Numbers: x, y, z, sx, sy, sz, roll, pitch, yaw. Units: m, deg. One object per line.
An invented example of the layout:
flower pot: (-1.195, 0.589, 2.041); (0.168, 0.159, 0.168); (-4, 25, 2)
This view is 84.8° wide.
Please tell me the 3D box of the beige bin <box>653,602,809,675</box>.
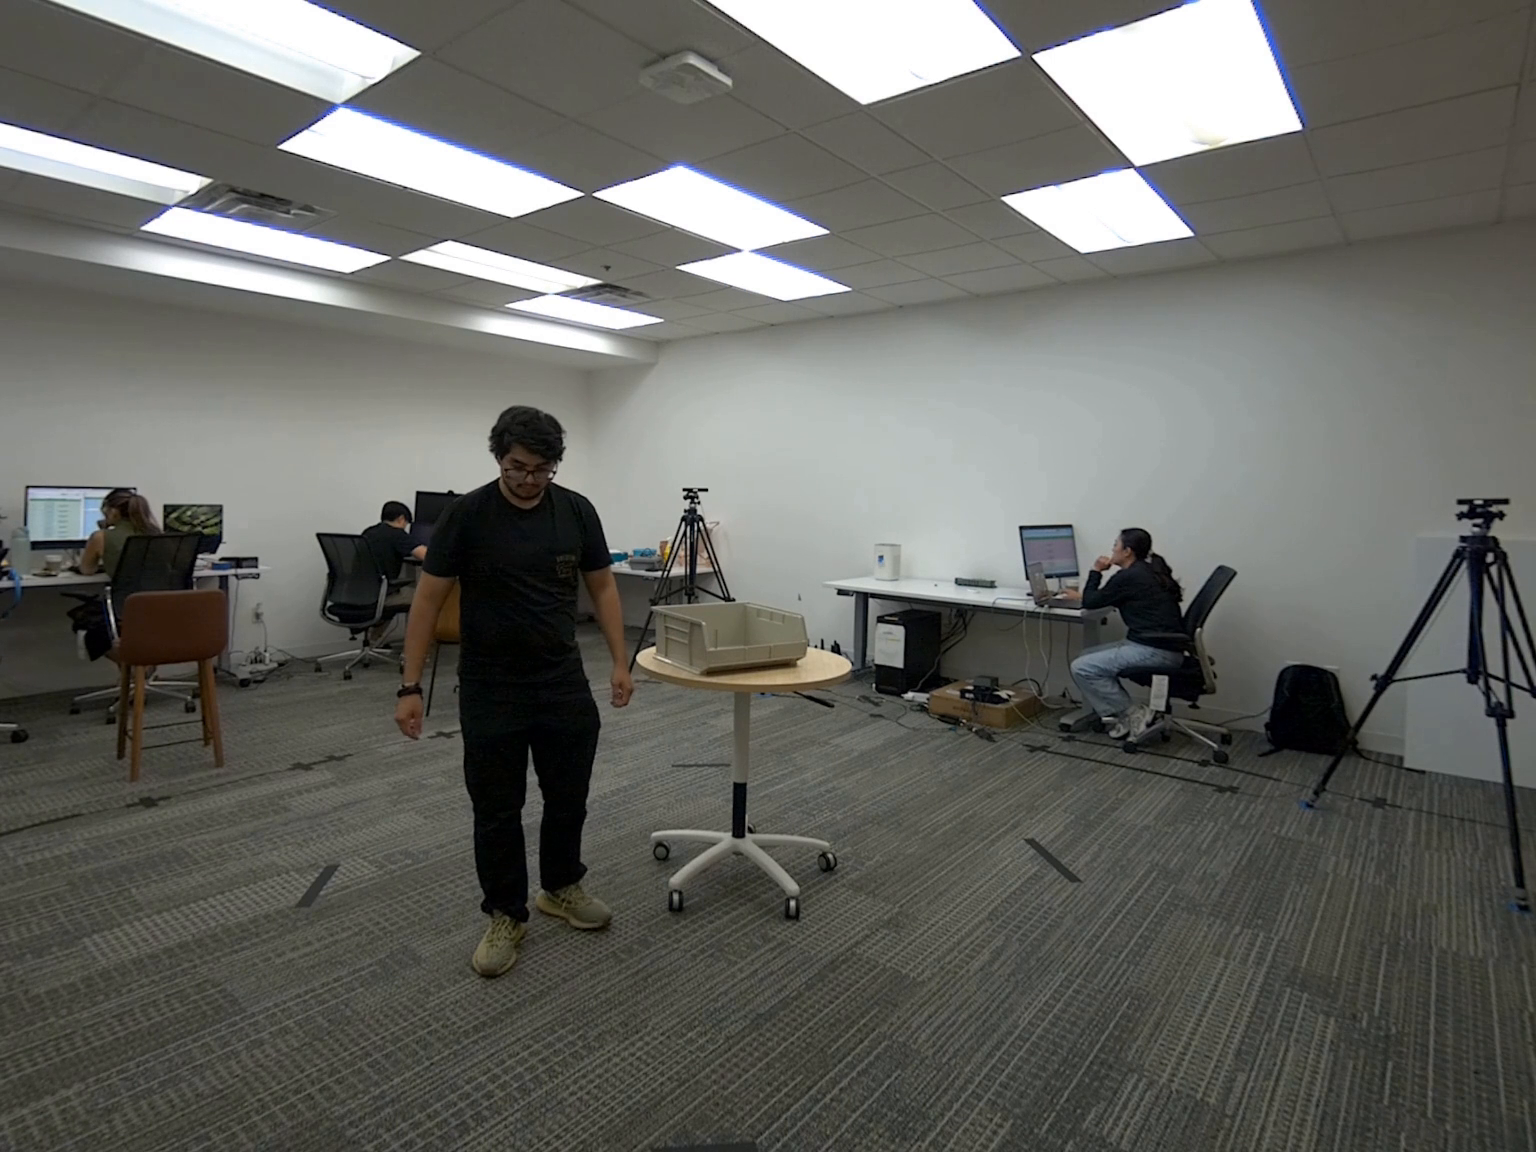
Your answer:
beige bin: (-0.146, 0.209, 2.976); (0.410, 0.188, 0.389); (-3, 6, -35)
